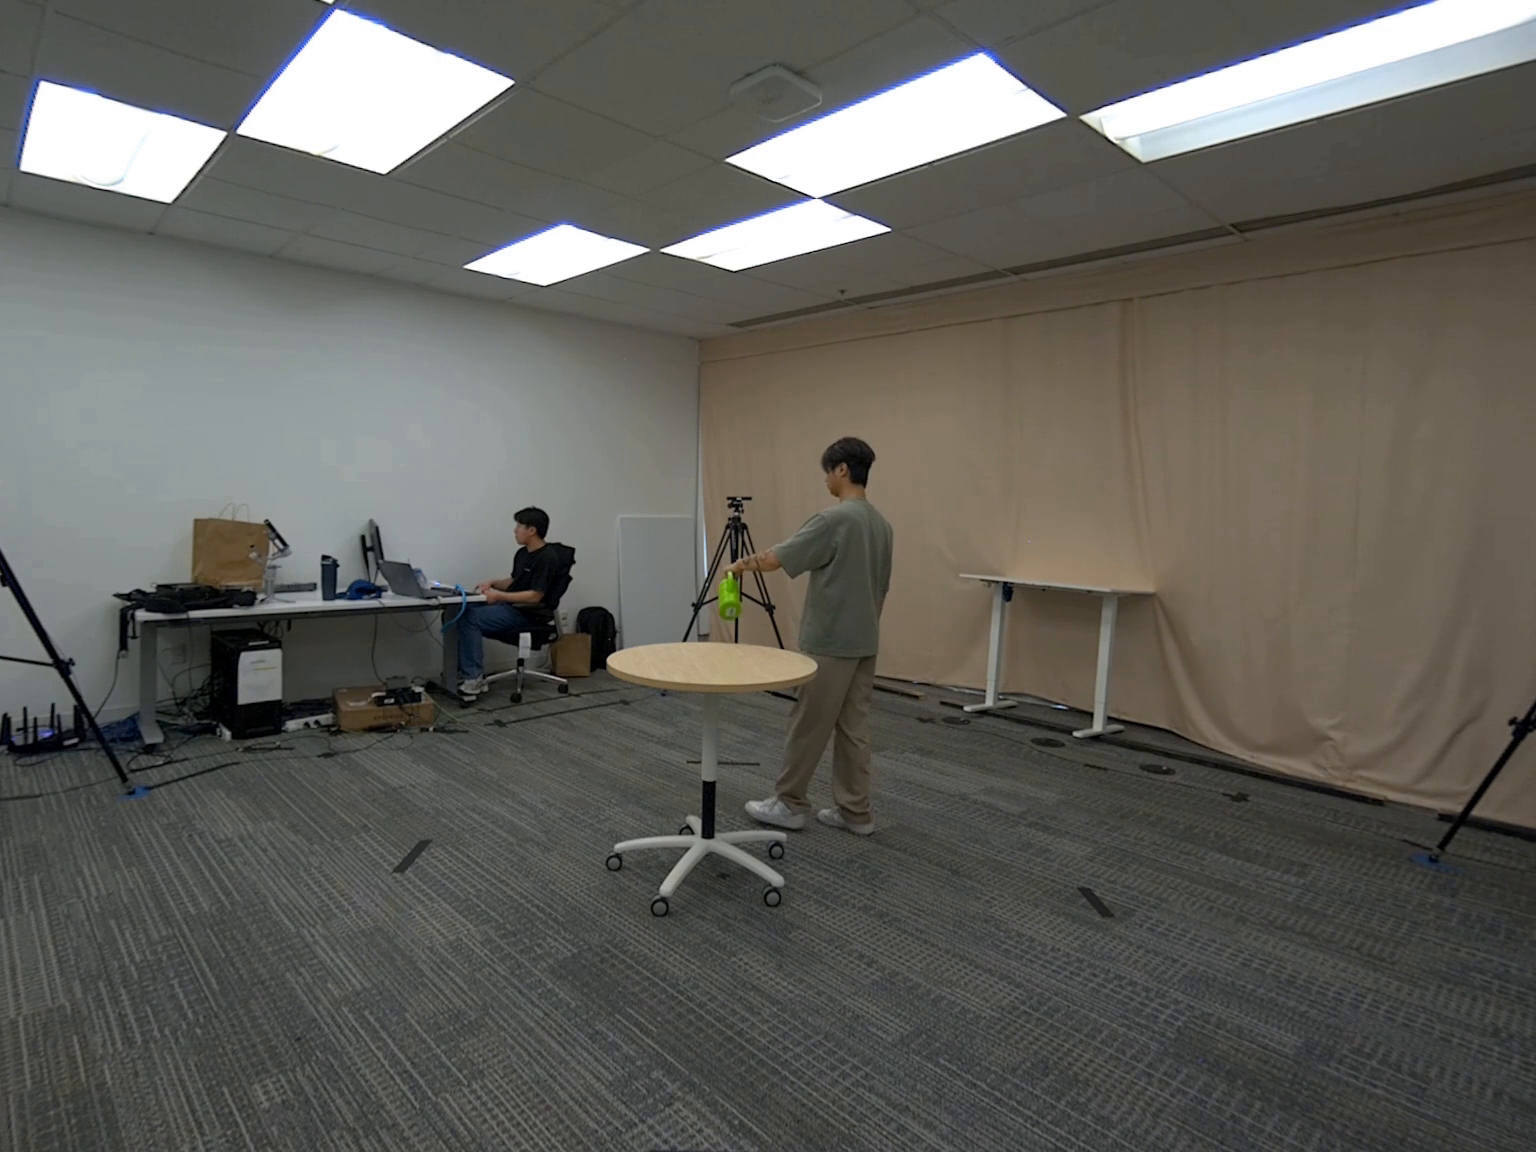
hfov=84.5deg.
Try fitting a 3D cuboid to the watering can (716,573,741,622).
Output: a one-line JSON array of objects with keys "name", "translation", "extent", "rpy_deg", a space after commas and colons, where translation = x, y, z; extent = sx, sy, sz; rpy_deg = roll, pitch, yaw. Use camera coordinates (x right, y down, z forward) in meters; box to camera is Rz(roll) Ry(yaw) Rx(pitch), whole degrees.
[{"name": "watering can", "translation": [-0.166, 0.113, 3.626], "extent": [0.098, 0.181, 0.271], "rpy_deg": [-6, -41, 5]}]
